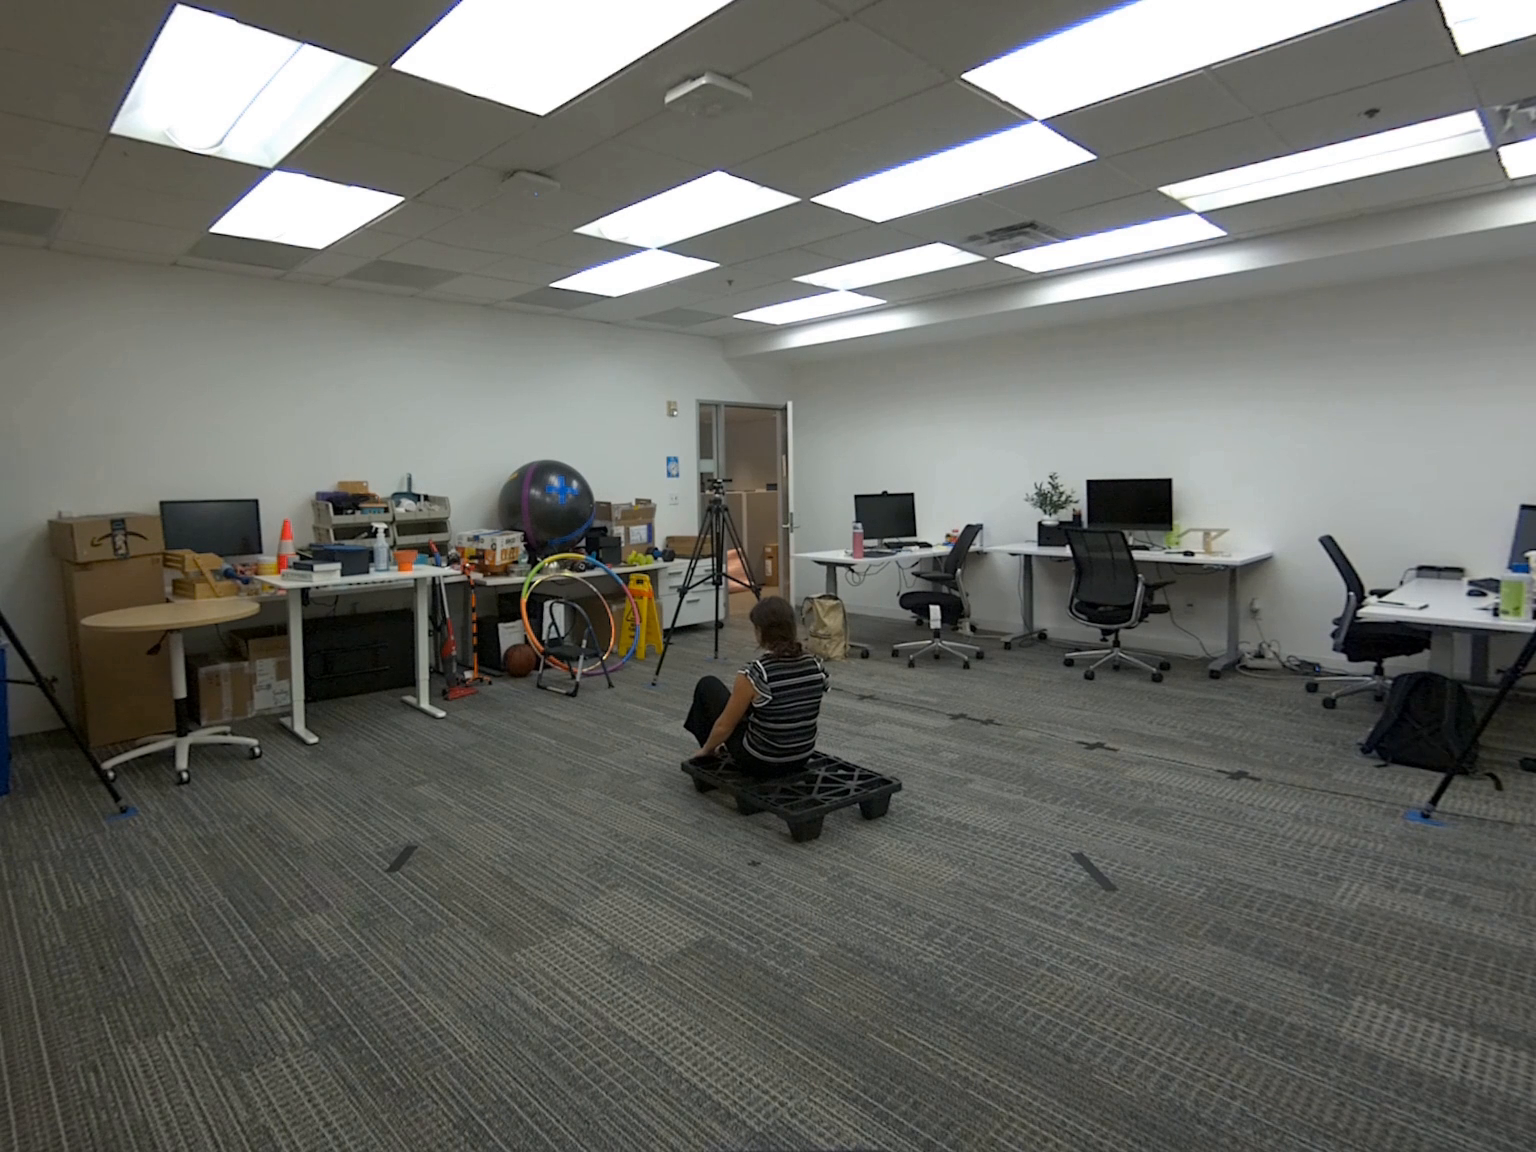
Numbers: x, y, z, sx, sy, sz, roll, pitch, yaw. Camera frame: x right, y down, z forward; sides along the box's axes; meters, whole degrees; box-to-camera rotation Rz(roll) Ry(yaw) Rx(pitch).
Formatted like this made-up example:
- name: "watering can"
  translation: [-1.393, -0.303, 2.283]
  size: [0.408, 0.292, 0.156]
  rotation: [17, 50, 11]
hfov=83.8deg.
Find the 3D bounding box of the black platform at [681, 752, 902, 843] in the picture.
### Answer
- name: "black platform"
  translation: [0.086, 0.909, 3.694]
  size: [0.589, 0.143, 0.830]
  rotation: [-4, 6, -36]
